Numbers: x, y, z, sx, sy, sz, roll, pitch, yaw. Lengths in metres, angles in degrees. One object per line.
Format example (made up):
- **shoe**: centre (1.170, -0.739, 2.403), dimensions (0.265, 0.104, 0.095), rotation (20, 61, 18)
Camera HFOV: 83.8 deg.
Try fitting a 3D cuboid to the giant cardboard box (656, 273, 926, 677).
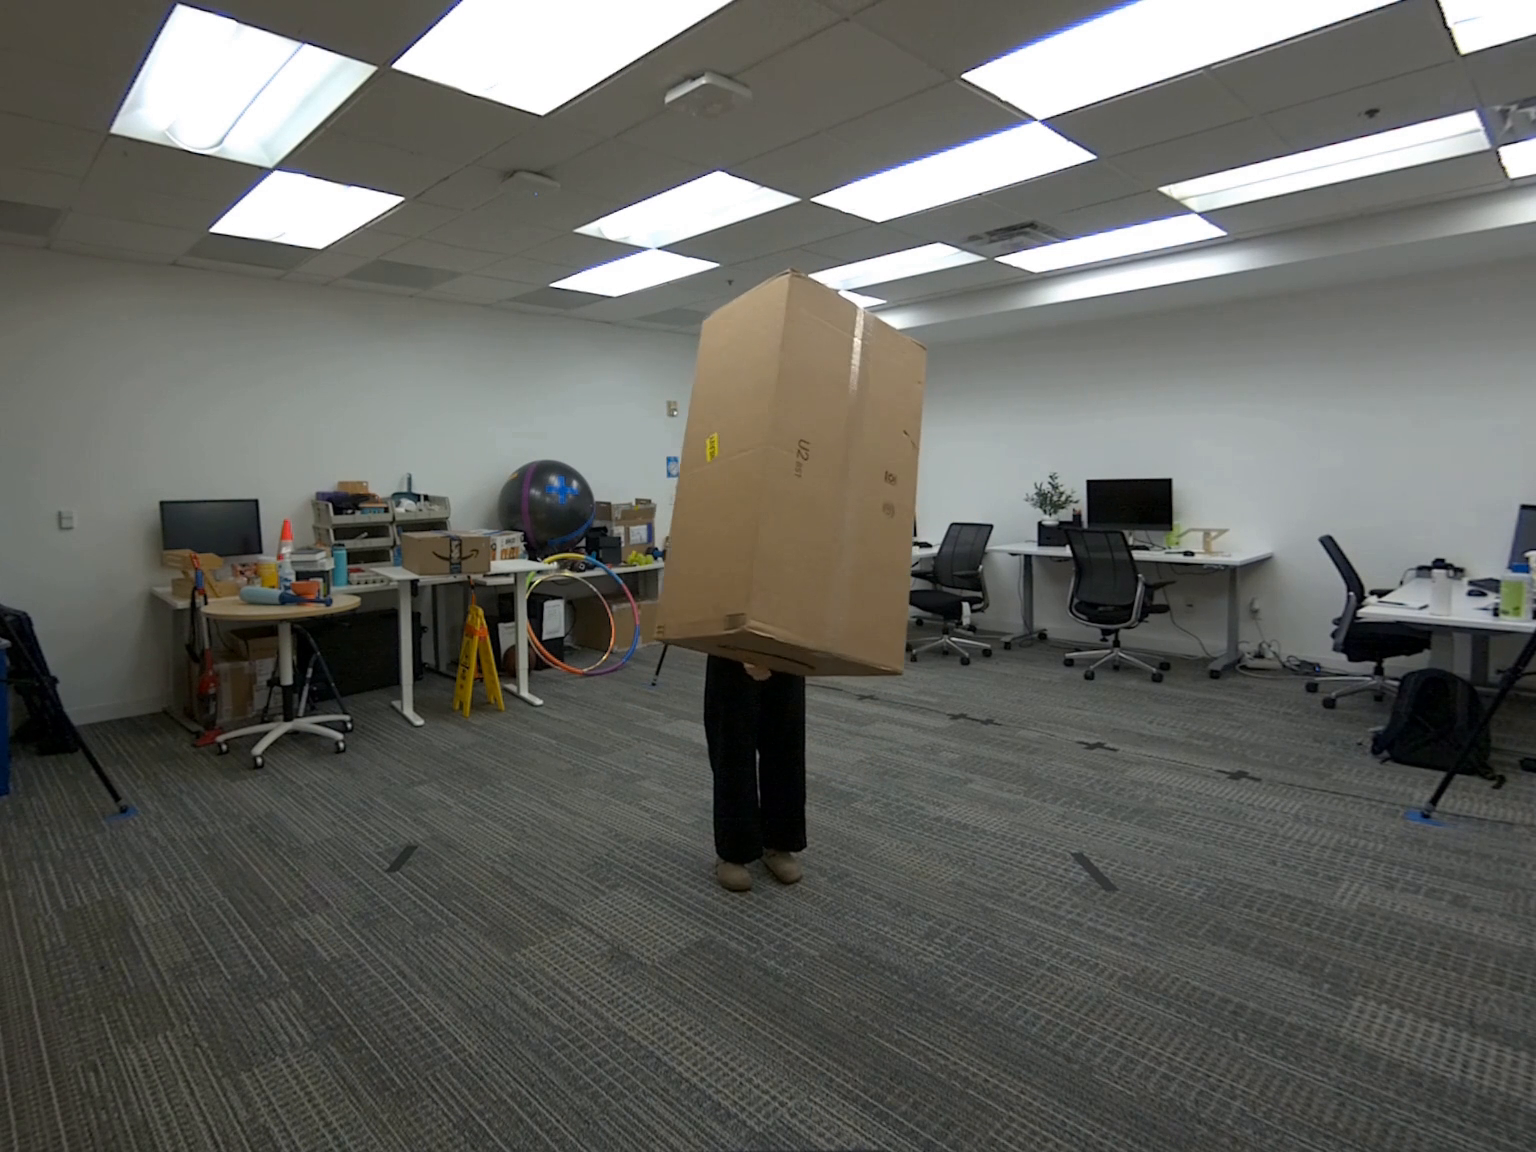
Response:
- **giant cardboard box**: centre (0.092, -0.262, 2.524), dimensions (0.558, 1.038, 0.435), rotation (18, -19, -35)
